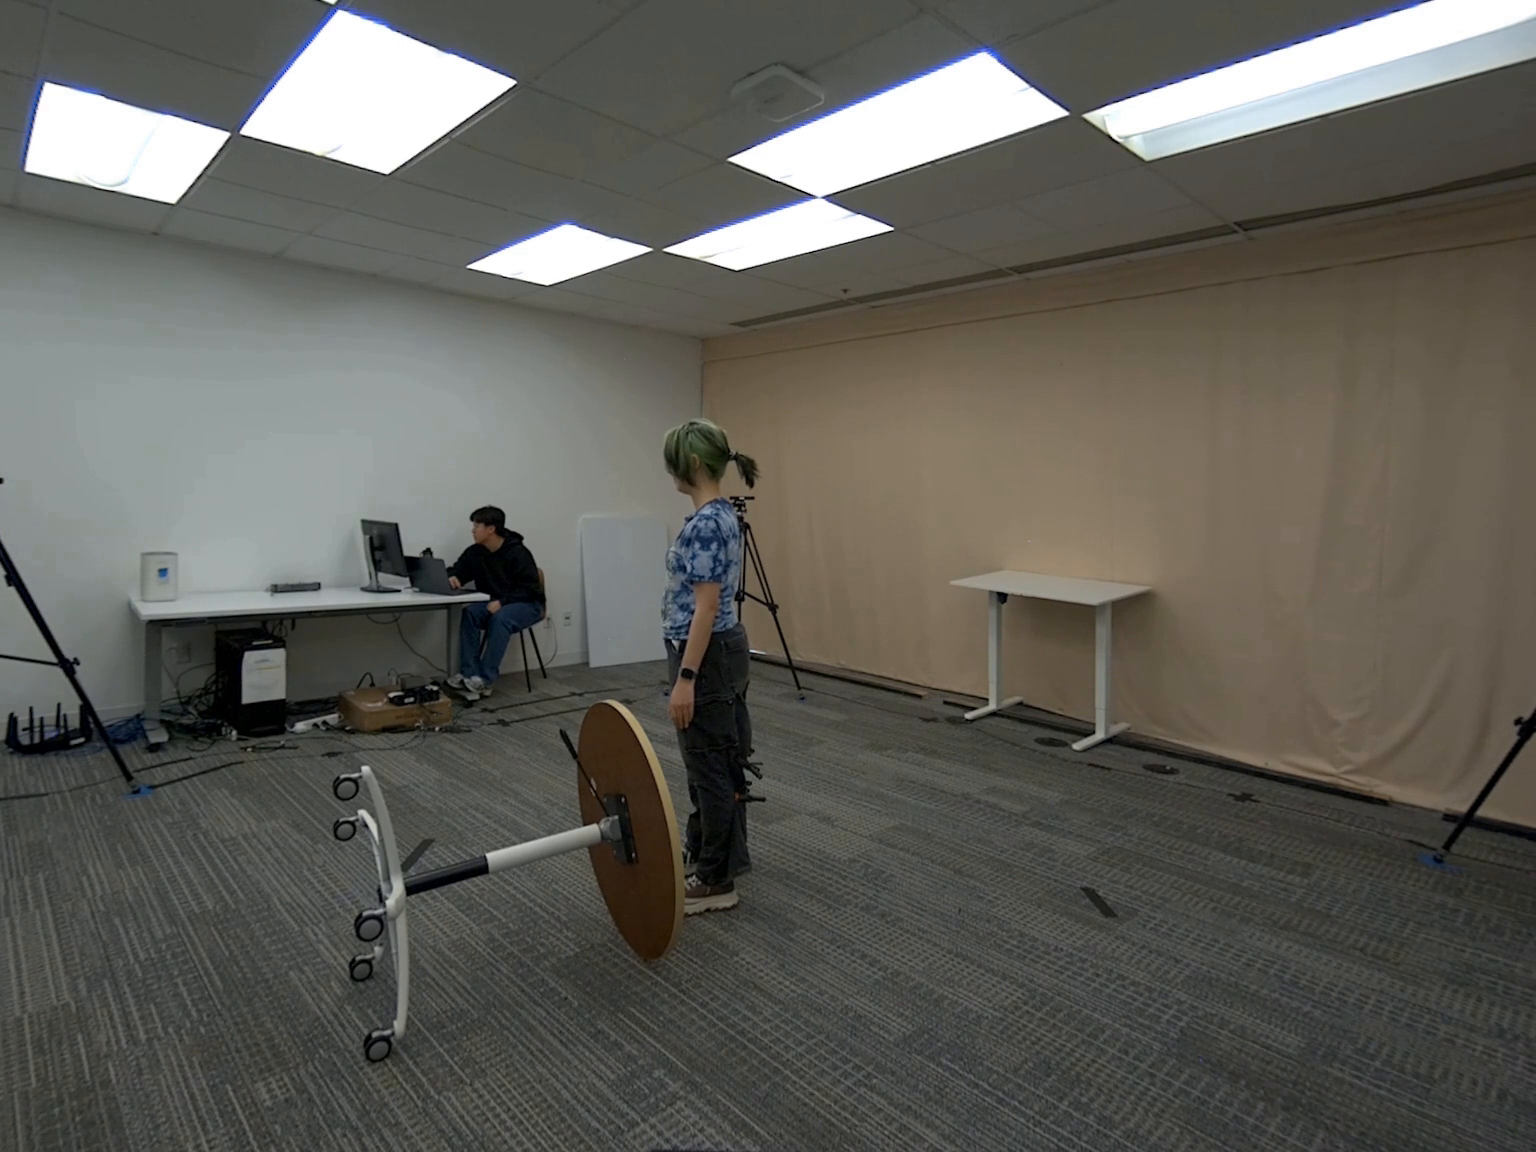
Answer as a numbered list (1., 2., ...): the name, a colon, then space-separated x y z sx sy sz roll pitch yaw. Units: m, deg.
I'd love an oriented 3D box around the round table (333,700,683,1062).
1. round table: -0.777 0.818 2.384 0.780 0.760 0.782 -8 9 -30
